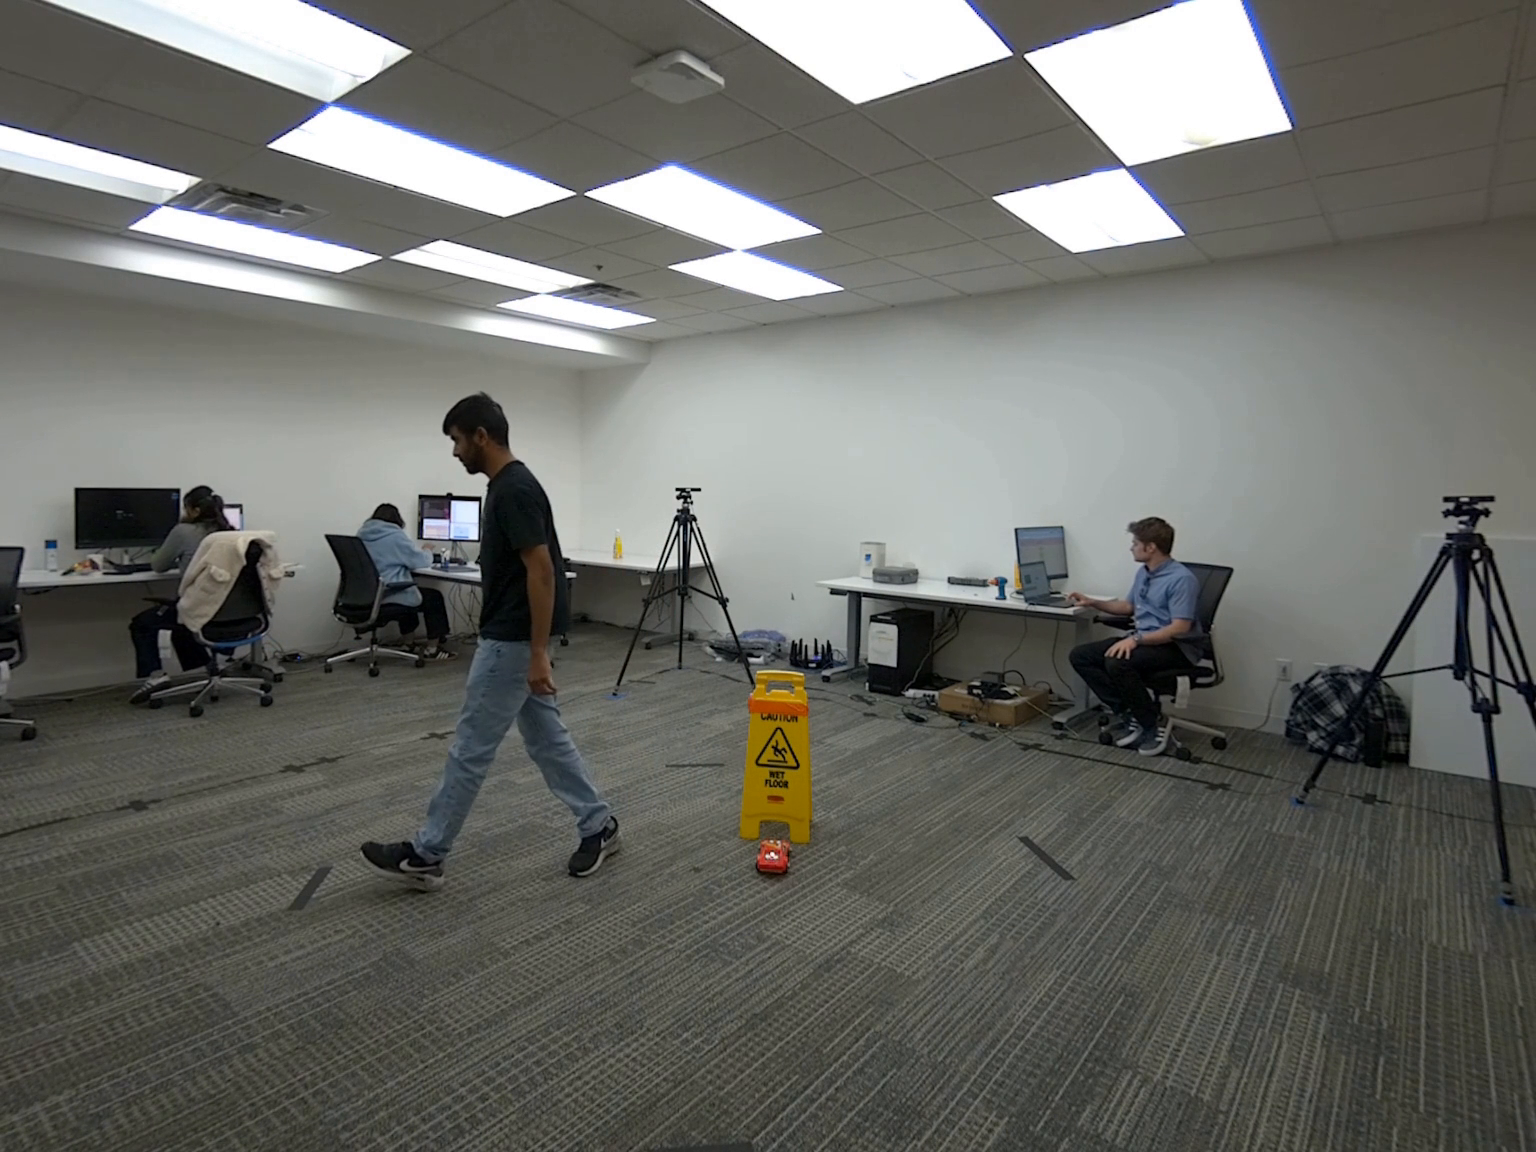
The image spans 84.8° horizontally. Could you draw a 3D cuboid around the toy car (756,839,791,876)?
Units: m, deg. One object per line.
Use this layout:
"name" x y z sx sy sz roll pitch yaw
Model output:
"toy car" 0.011 1.043 3.148 0.131 0.084 0.251 2 -6 5
